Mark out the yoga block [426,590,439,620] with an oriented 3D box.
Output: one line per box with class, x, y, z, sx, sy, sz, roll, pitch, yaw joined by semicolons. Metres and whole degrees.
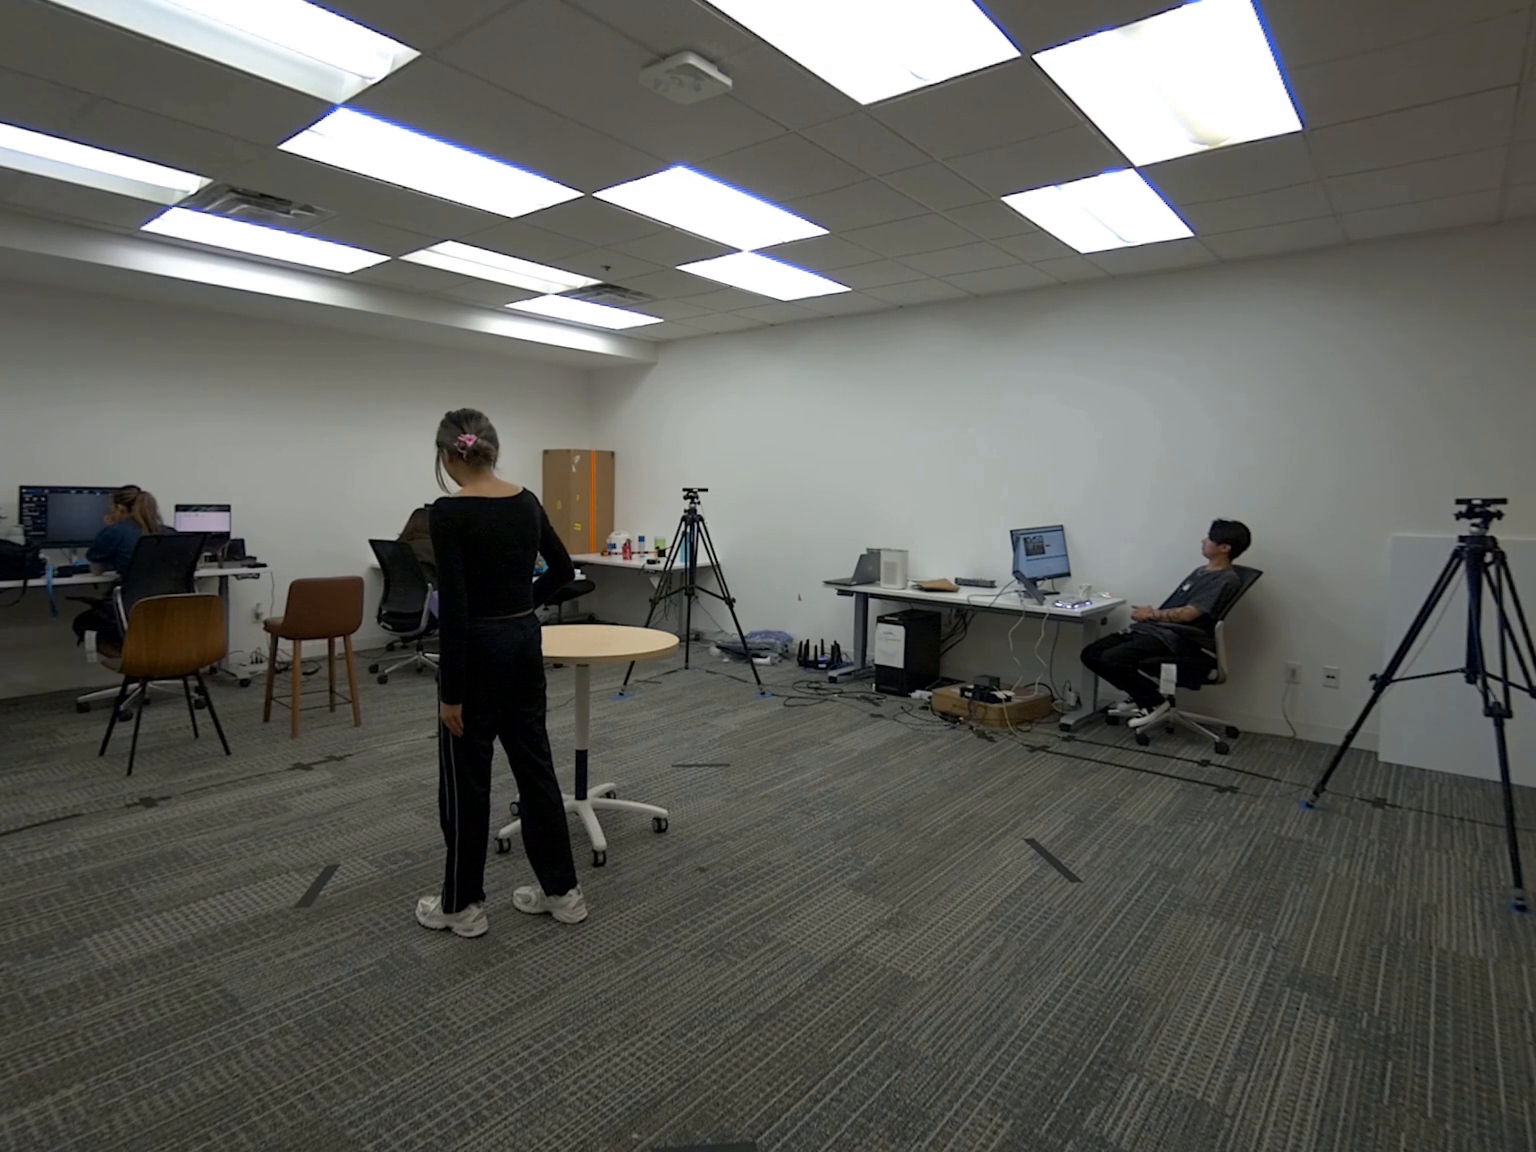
yoga block;-1.030;0.129;2.918;0.144;0.075;0.239;-5;29;-47
